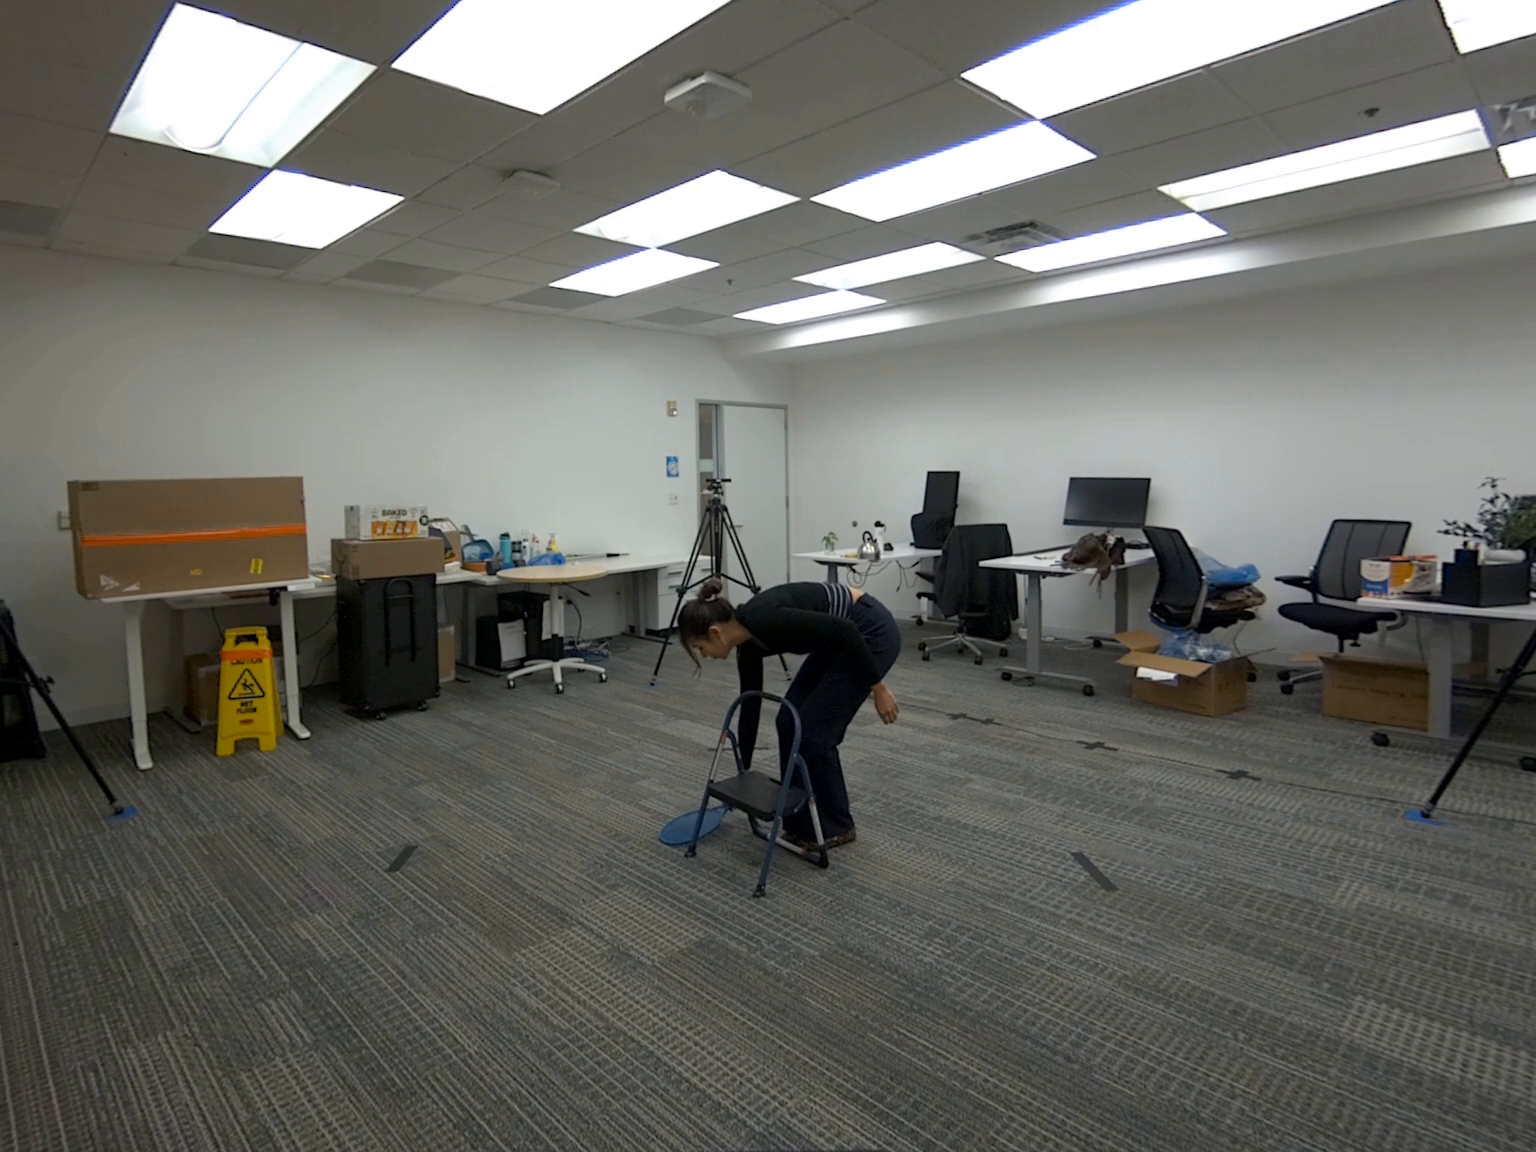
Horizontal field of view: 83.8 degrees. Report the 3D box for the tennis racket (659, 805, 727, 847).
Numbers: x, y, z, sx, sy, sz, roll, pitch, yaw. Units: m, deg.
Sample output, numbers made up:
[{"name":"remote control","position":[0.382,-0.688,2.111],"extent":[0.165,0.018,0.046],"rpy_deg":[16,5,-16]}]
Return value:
[{"name":"tennis racket","position":[-0.234,0.967,3.394],"extent":[0.425,0.031,0.220],"rpy_deg":[-18,13,-33]}]
